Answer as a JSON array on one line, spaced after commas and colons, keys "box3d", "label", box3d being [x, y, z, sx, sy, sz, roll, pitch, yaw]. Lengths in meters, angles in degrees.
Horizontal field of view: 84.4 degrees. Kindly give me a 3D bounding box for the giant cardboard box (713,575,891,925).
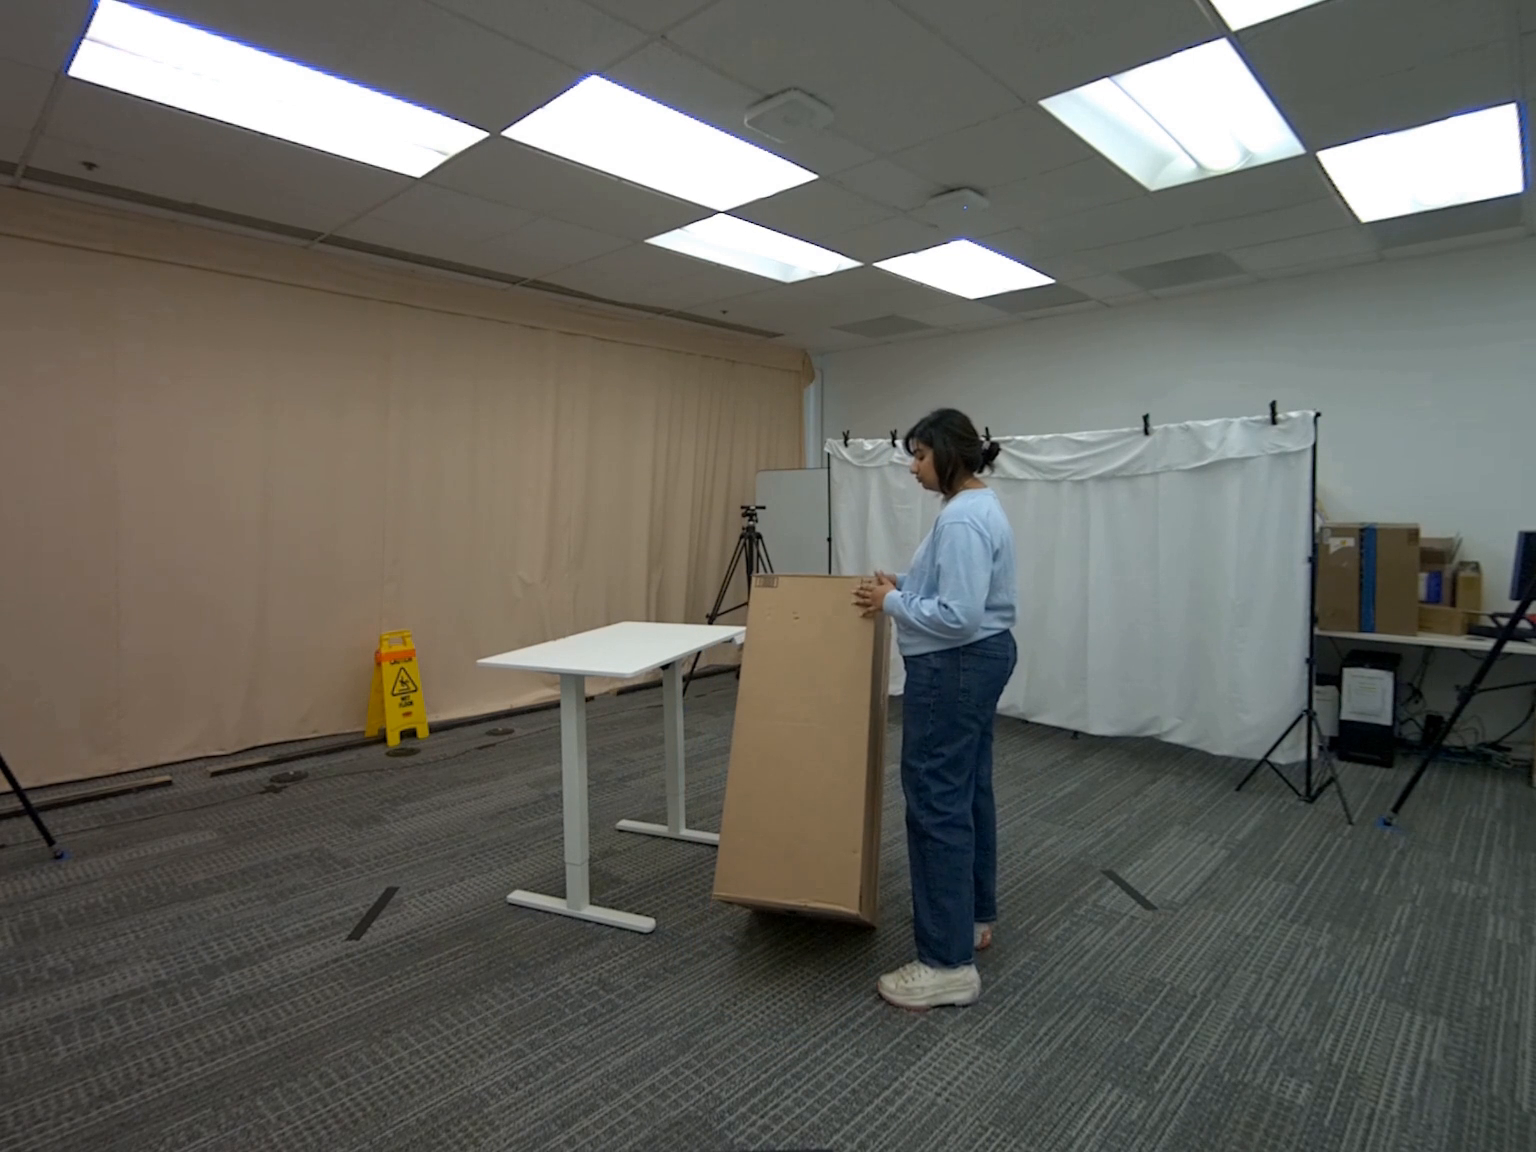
[{"box3d": [0.159, 0.578, 2.807, 0.433, 1.037, 0.562, 1, -25, 14], "label": "giant cardboard box"}]
